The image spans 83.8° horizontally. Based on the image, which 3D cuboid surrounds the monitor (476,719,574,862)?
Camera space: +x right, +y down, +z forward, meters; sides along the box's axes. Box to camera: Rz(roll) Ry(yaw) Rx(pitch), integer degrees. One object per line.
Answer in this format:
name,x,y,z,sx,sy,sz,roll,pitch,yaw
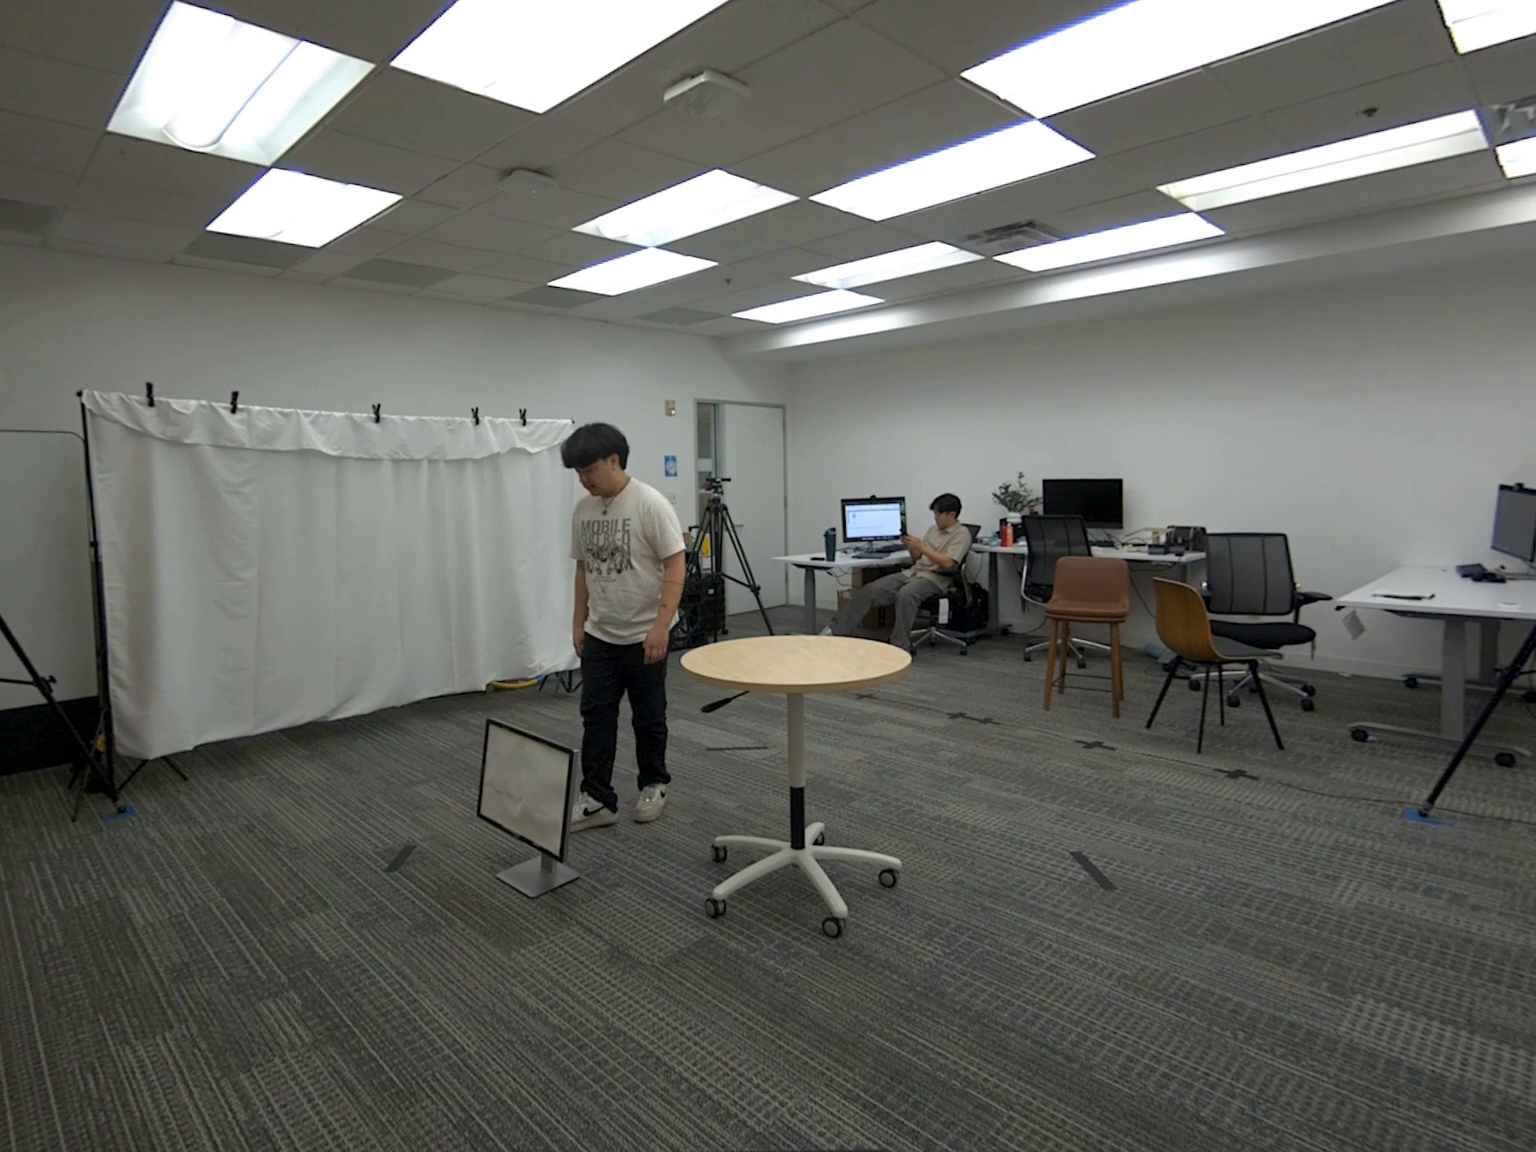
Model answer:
monitor,-0.804,0.814,3.017,0.204,0.553,0.583,-1,3,-44
